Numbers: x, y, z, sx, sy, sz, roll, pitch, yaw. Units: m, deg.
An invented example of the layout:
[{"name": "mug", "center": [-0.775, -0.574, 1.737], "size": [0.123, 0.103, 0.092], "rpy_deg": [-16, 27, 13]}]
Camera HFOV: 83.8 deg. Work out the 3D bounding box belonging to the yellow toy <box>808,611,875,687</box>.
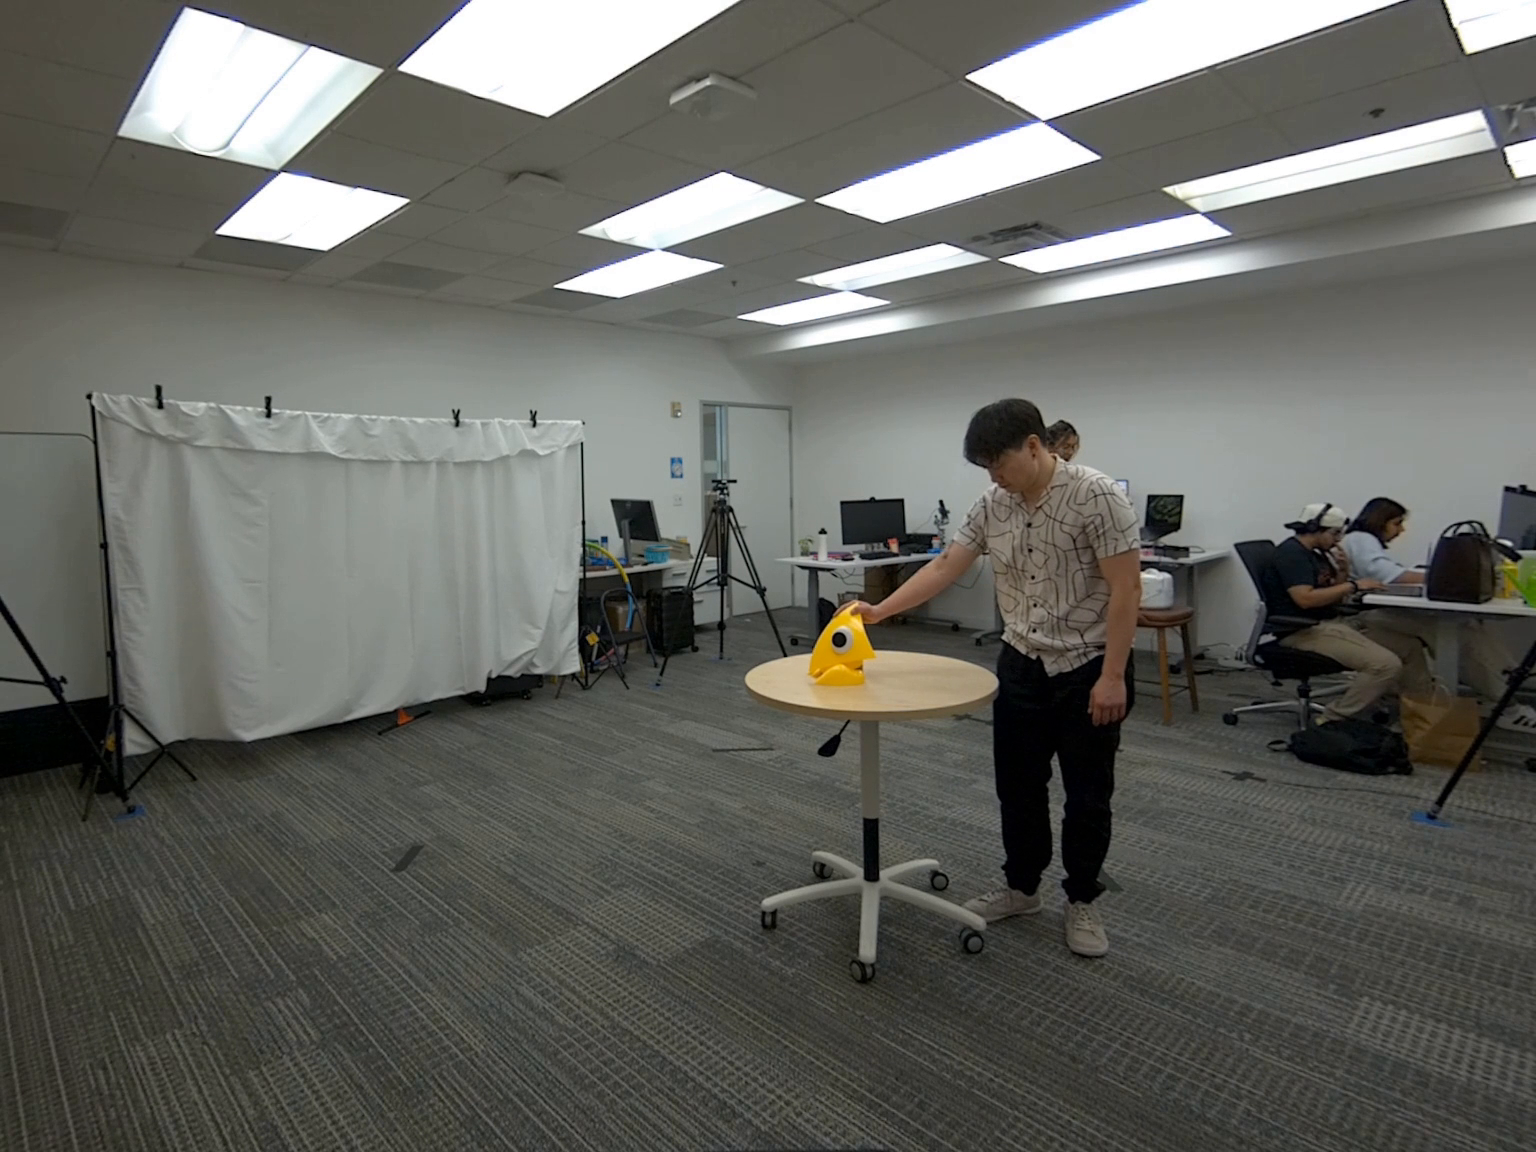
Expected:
[{"name": "yellow toy", "center": [0.225, 0.203, 2.627], "size": [0.192, 0.229, 0.207], "rpy_deg": [-2, 6, -6]}]
